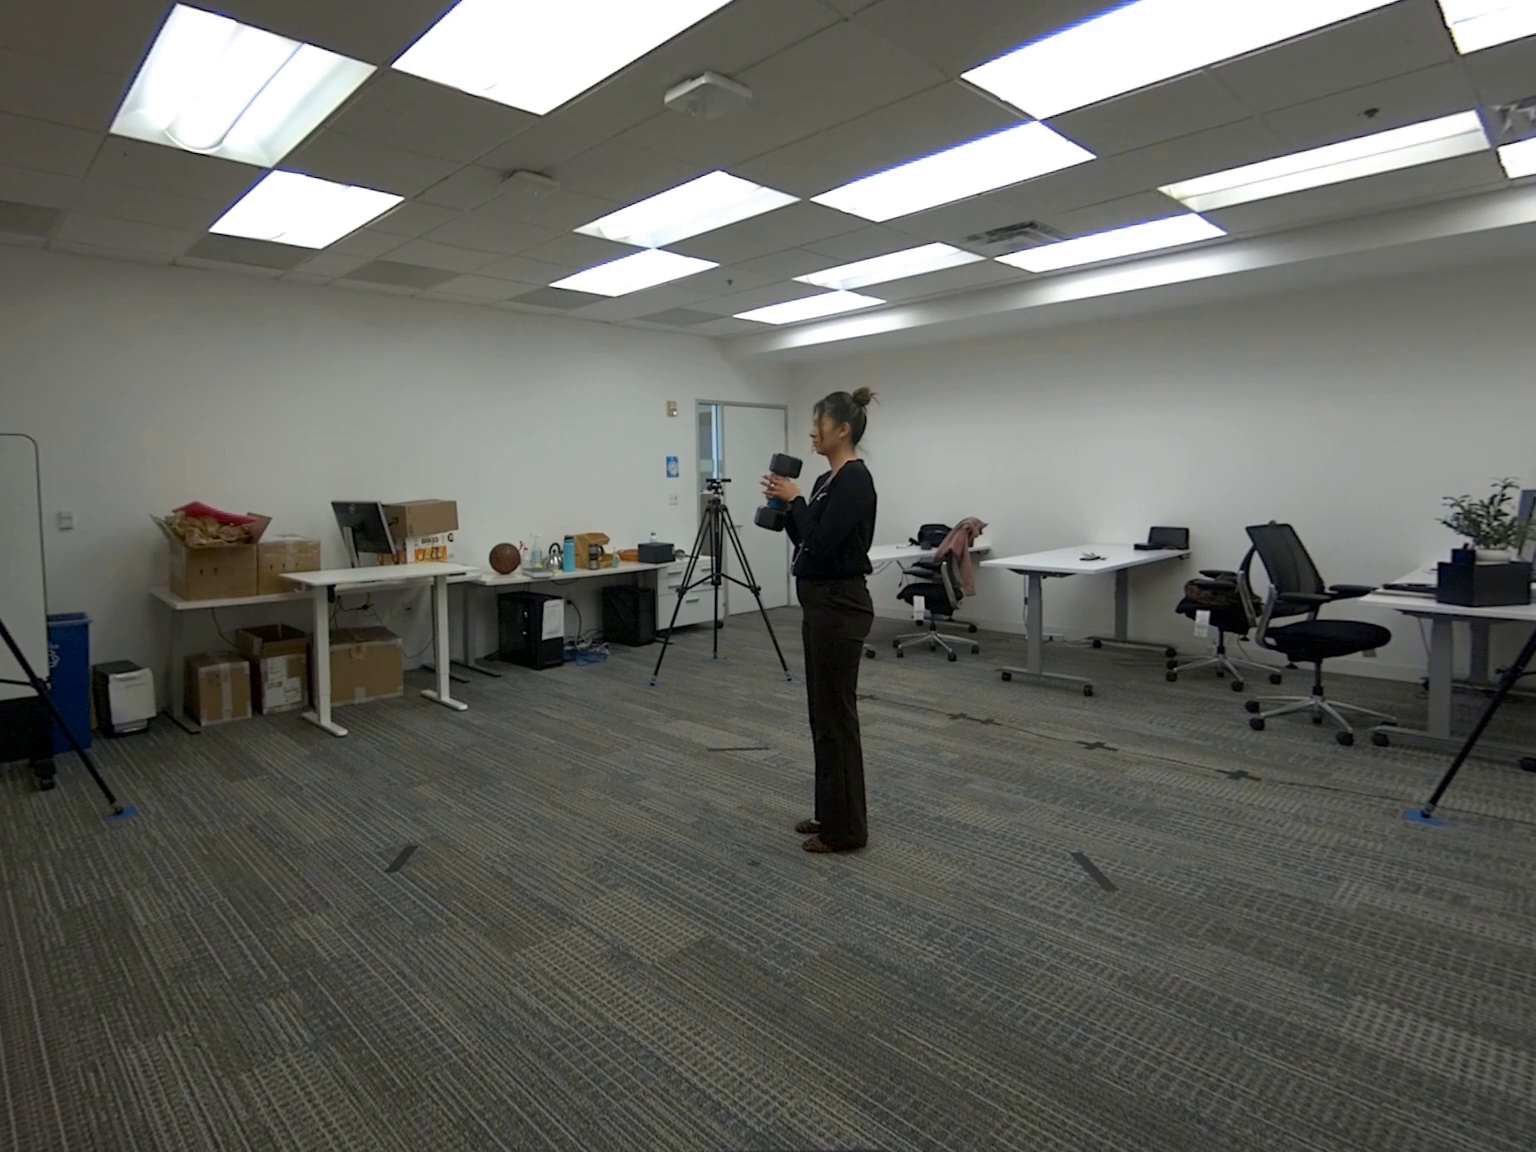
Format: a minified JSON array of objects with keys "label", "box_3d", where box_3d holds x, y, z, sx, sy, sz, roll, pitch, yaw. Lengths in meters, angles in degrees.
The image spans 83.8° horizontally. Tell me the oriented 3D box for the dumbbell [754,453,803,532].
[{"label":"dumbbell","box_3d":[0.050,-0.325,3.277,0.125,0.292,0.107,18,6,15]}]
